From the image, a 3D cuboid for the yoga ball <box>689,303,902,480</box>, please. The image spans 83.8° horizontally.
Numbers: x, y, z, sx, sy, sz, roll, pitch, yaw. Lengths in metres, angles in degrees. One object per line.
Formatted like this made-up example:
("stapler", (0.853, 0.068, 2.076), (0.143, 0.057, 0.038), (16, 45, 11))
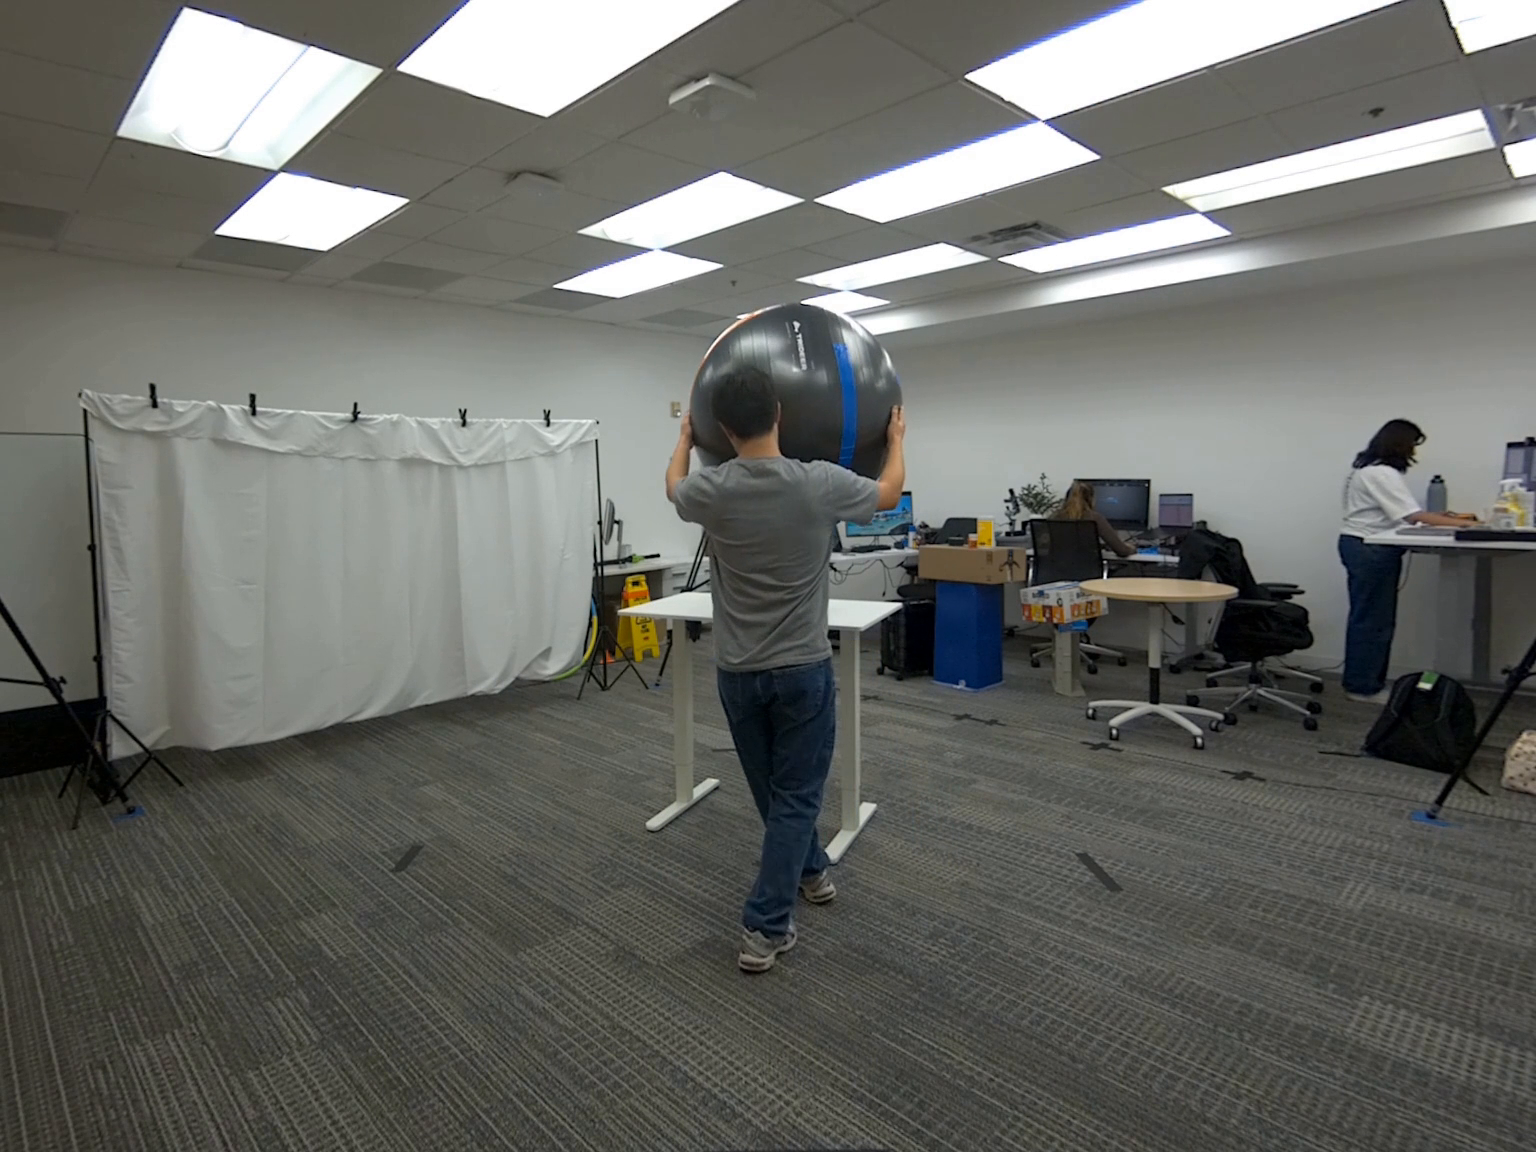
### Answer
("yoga ball", (0.095, -0.578, 3.066), (0.757, 0.755, 0.762), (-1, 5, -2))
